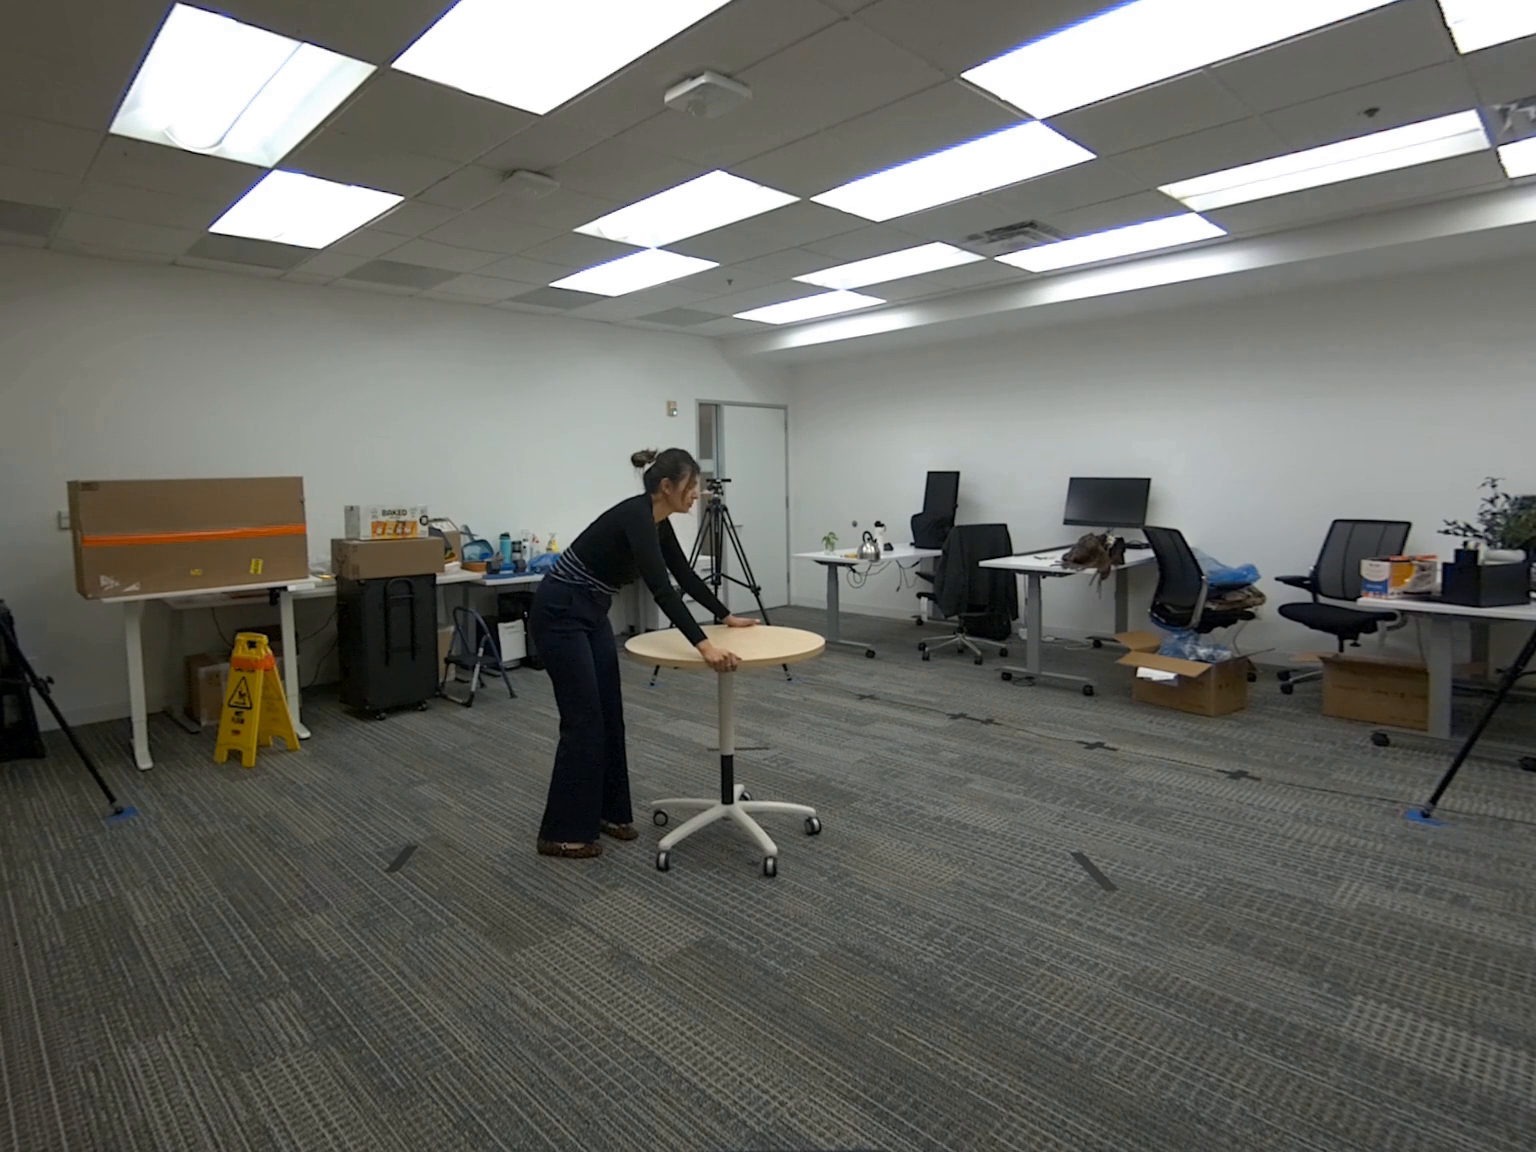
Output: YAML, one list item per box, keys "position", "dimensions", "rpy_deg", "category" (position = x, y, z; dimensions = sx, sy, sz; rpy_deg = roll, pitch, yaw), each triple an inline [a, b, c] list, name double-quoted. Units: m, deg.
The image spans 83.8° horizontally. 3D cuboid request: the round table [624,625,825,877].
- position: [-0.155, 0.636, 3.299]
  dimensions: [0.763, 0.791, 0.767]
  rpy_deg: [-1, 4, -2]
  category: "round table"
